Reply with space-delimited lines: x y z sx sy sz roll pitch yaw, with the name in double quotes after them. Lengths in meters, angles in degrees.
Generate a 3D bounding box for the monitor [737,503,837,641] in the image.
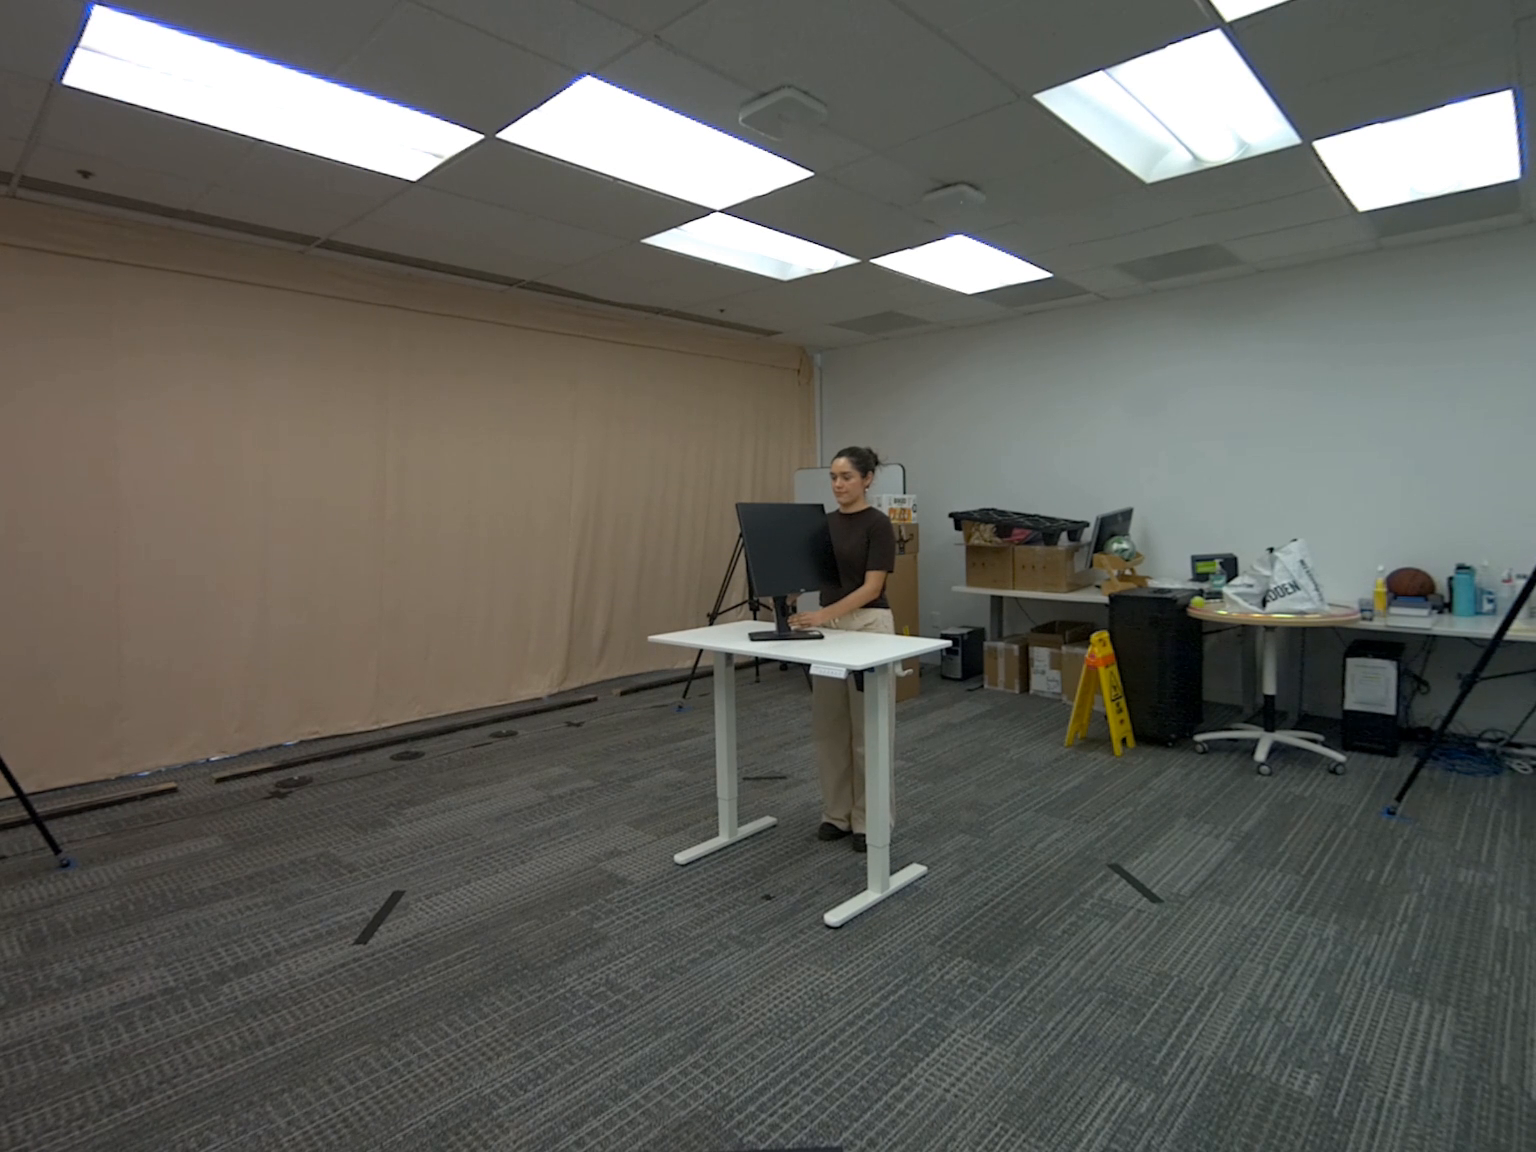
0.078 -0.019 3.240 0.193 0.522 0.523 3 3 36 "monitor"
